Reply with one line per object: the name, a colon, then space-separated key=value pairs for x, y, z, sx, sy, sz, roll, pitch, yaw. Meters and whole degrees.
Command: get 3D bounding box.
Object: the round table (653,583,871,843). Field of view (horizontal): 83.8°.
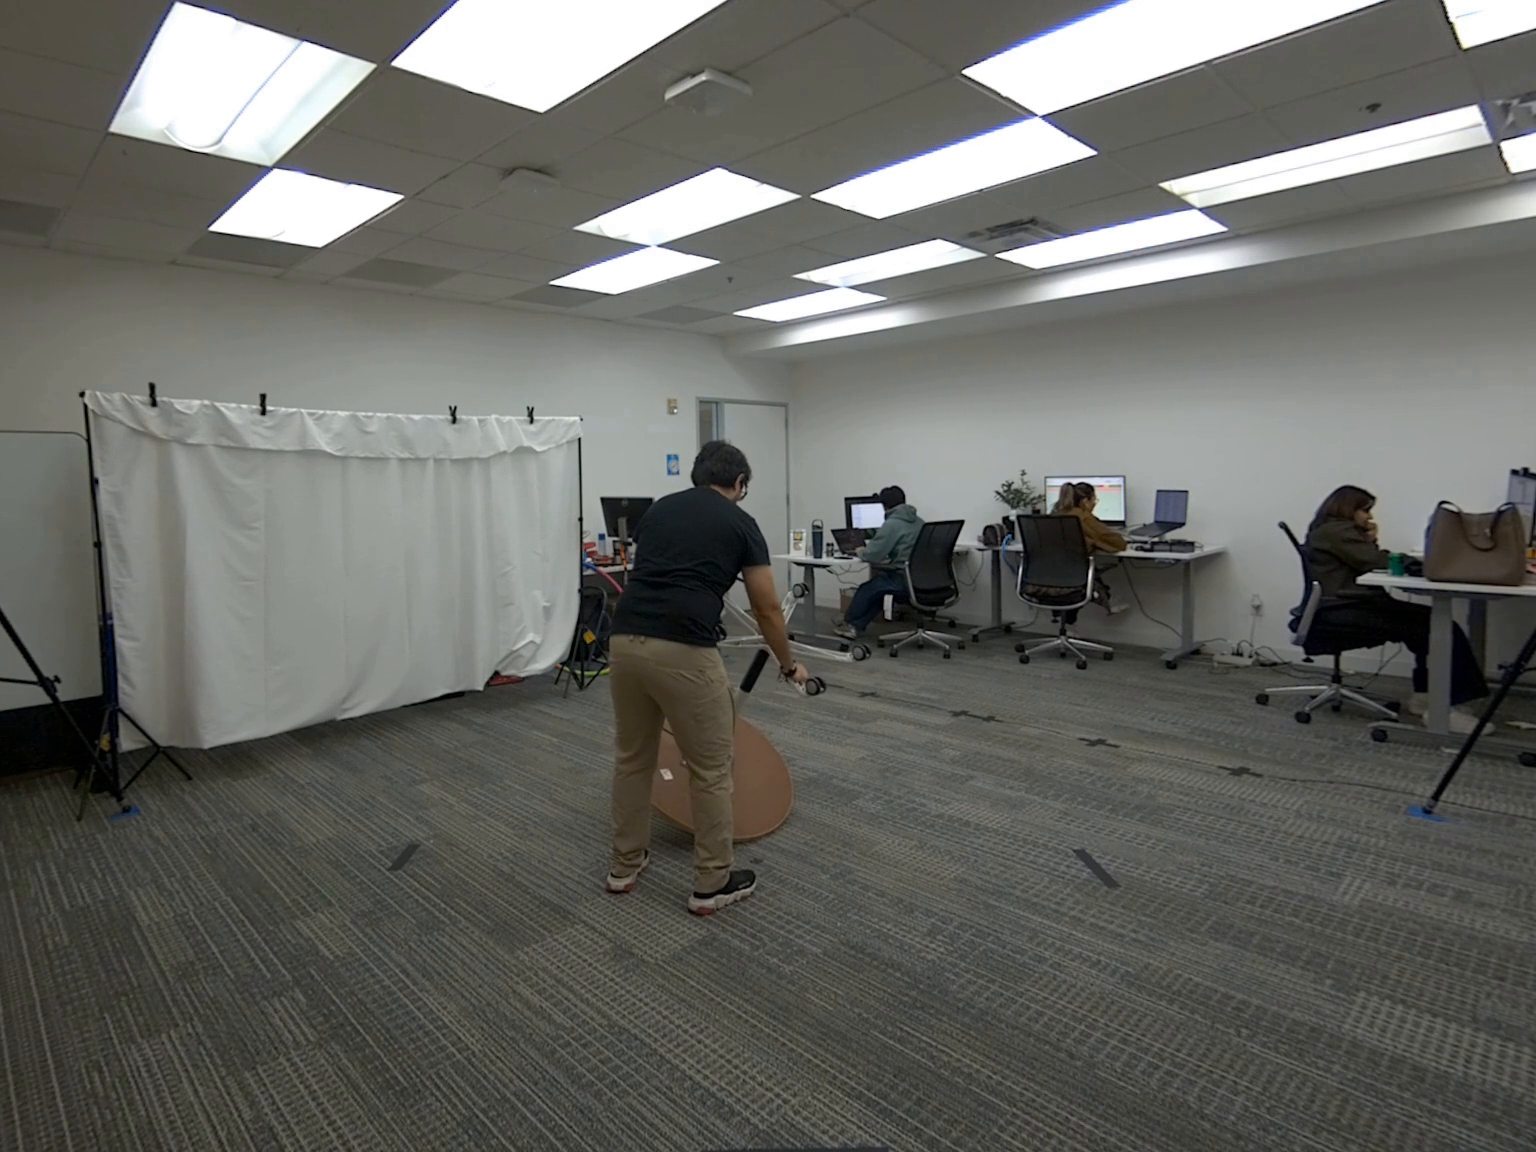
round table: x=-0.090 y=0.467 z=3.383 sx=0.774 sy=0.779 sz=0.804 roll=19 pitch=28 yaw=-12
